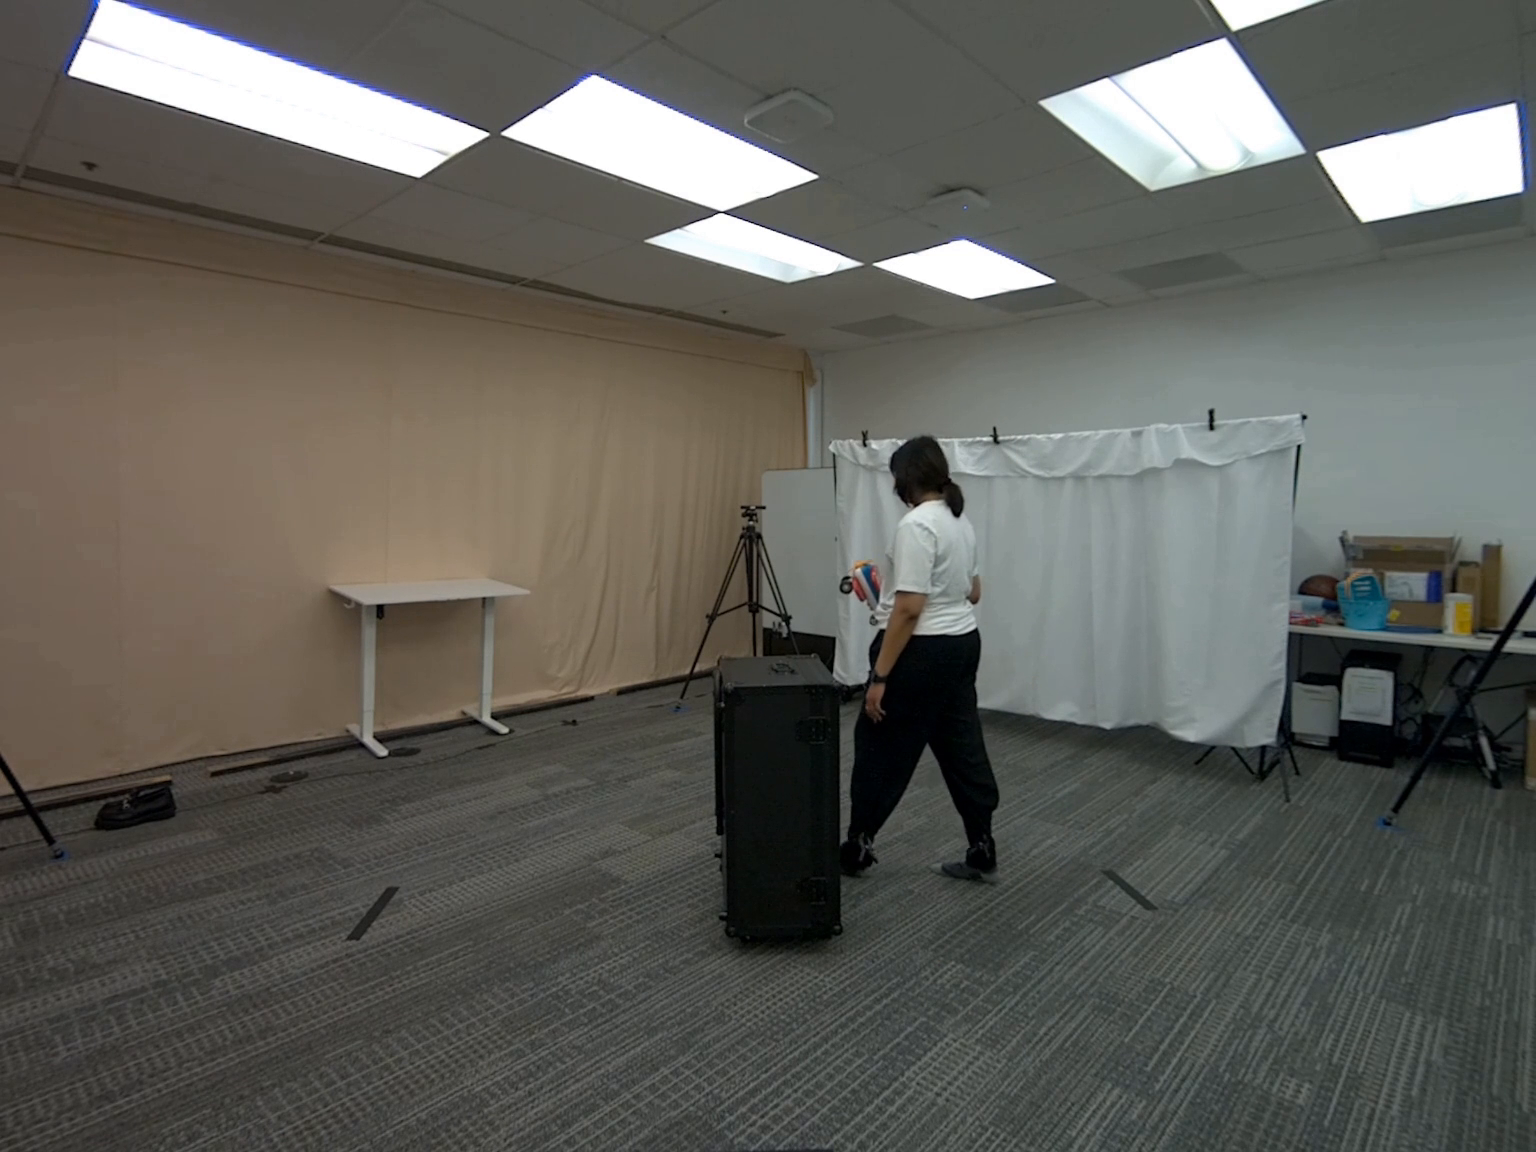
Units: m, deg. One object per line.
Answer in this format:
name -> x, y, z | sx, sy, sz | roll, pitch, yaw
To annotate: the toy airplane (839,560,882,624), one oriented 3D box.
toy airplane -> 0.407, 0.062, 3.333 | 0.252, 0.157, 0.257 | 42, 16, -27
